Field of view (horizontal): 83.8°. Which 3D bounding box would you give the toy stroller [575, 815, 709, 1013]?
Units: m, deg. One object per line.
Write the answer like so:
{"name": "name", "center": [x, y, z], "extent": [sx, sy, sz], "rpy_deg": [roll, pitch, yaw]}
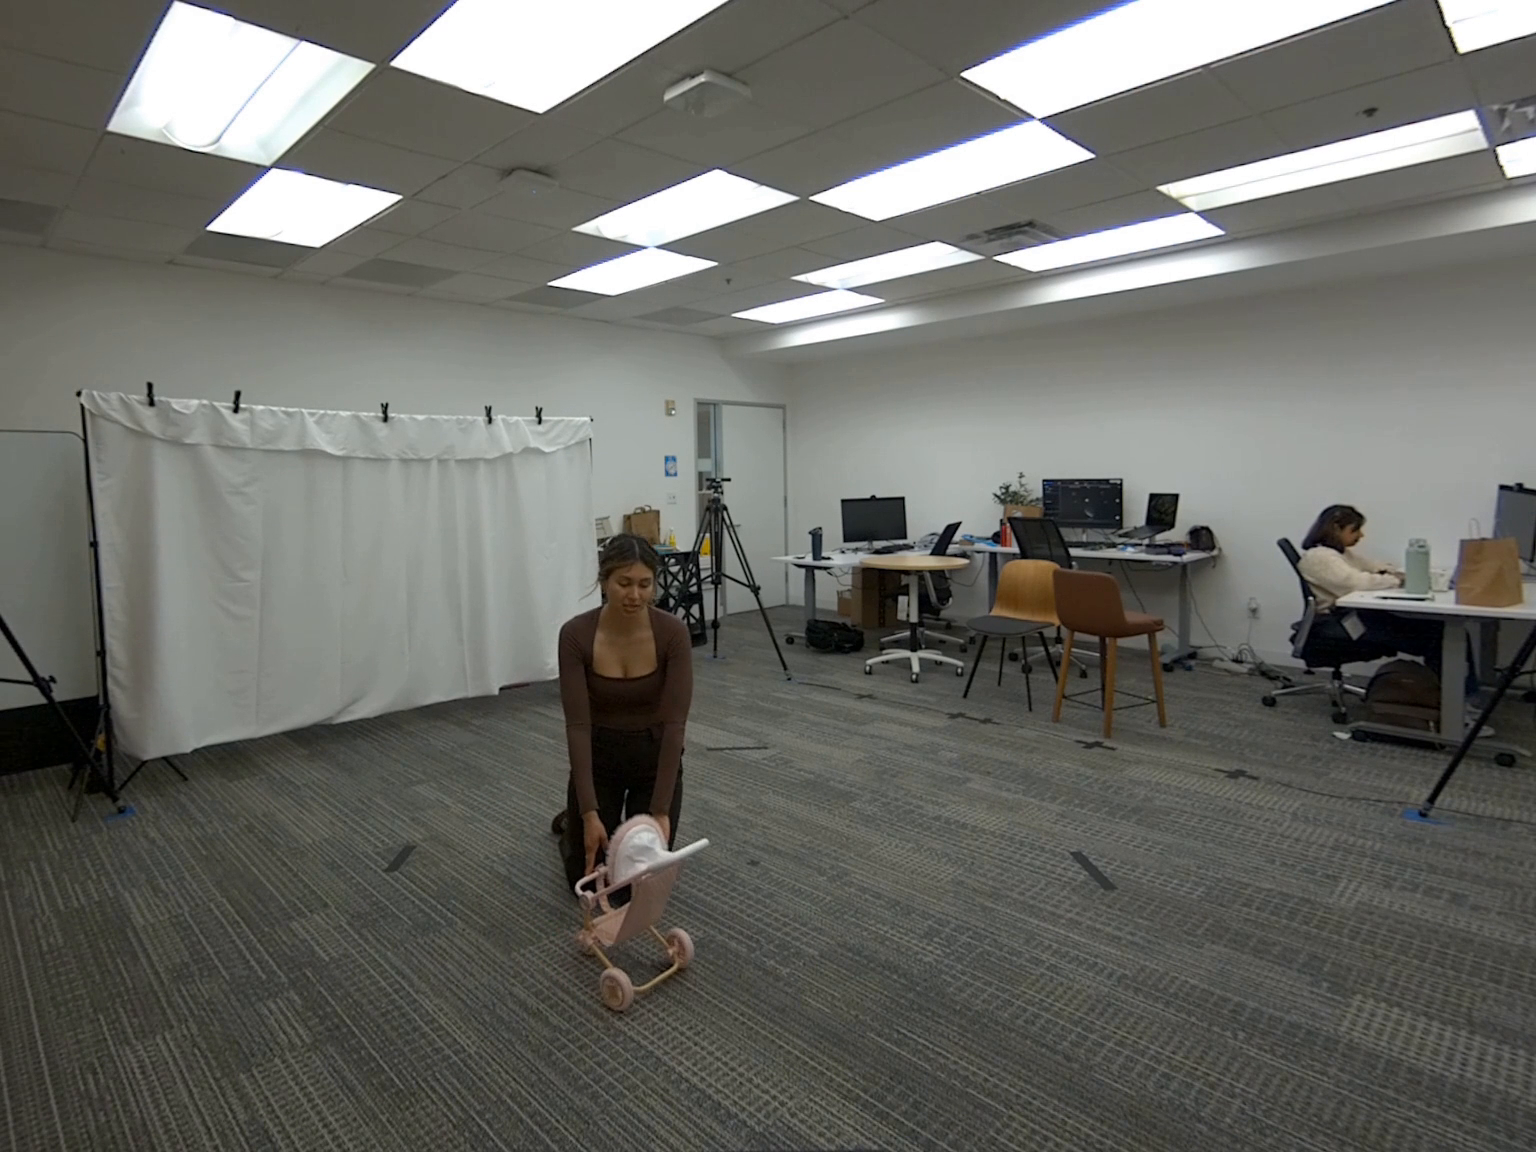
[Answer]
{"name": "toy stroller", "center": [-0.382, 0.911, 2.394], "extent": [0.354, 0.530, 0.274], "rpy_deg": [22, 18, 39]}
